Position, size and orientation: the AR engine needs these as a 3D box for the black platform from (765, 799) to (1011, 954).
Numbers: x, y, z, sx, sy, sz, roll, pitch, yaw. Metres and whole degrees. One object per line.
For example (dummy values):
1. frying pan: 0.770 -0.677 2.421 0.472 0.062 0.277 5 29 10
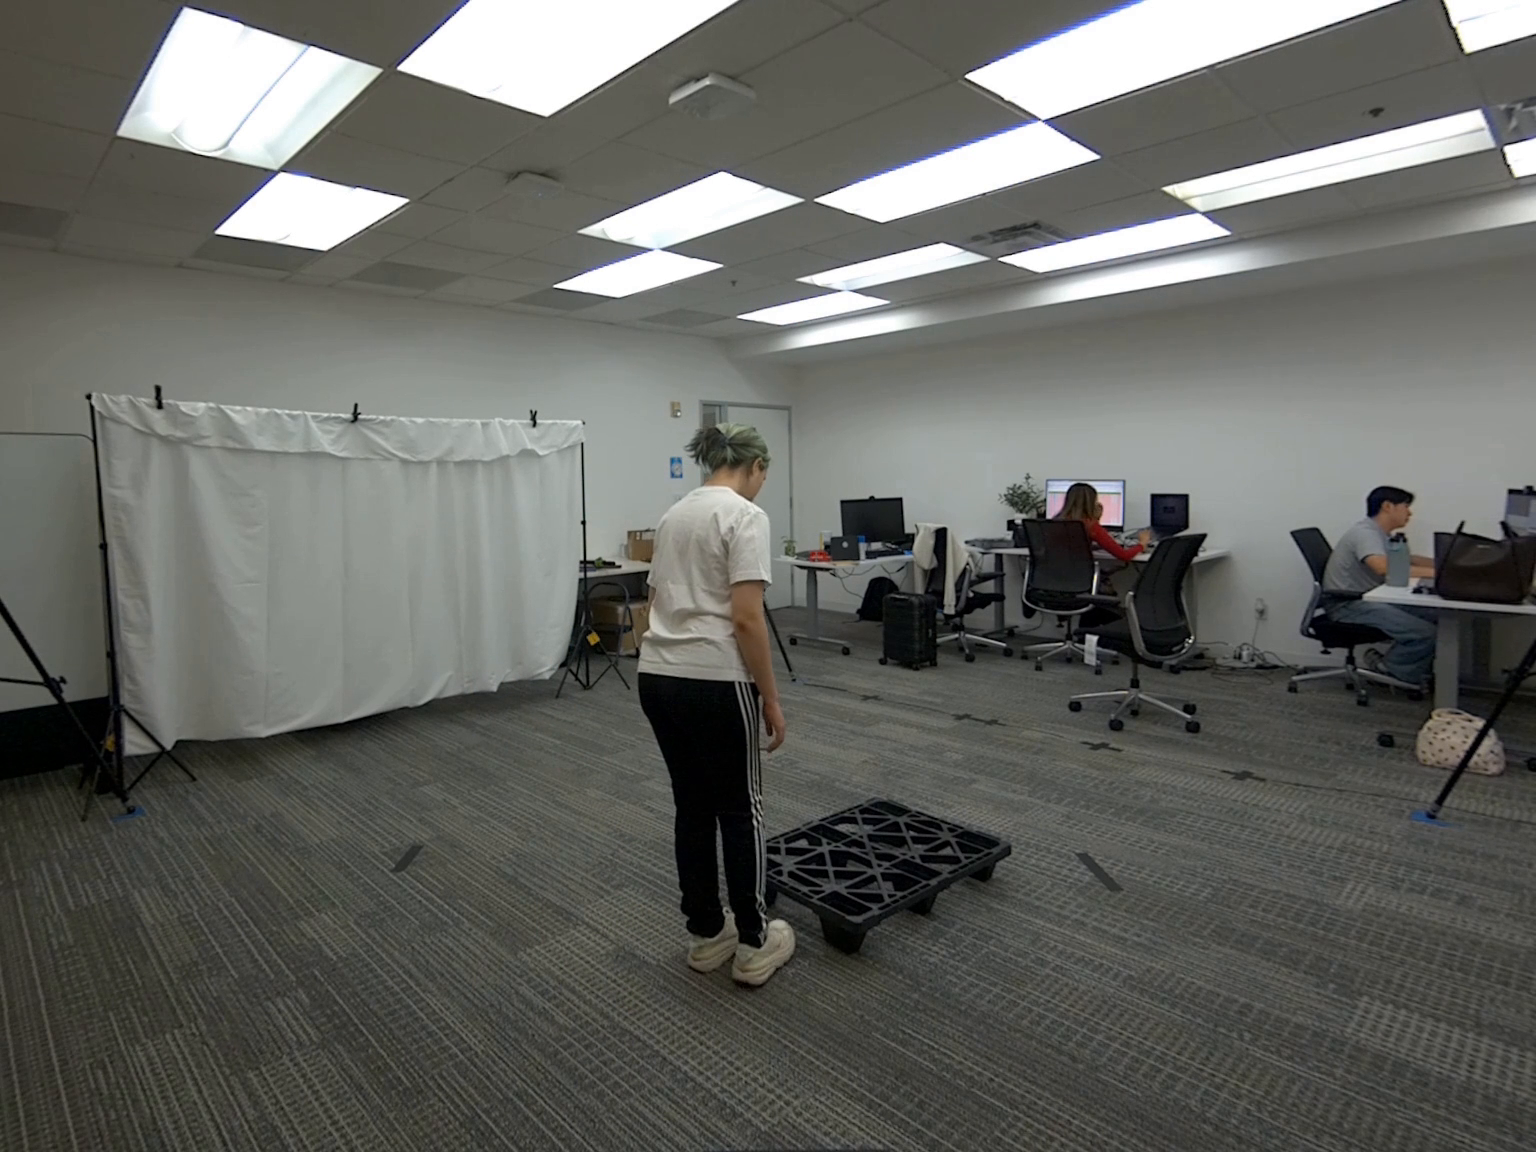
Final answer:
1. black platform: 0.356 0.996 2.910 0.785 0.142 0.624 -7 9 -41
